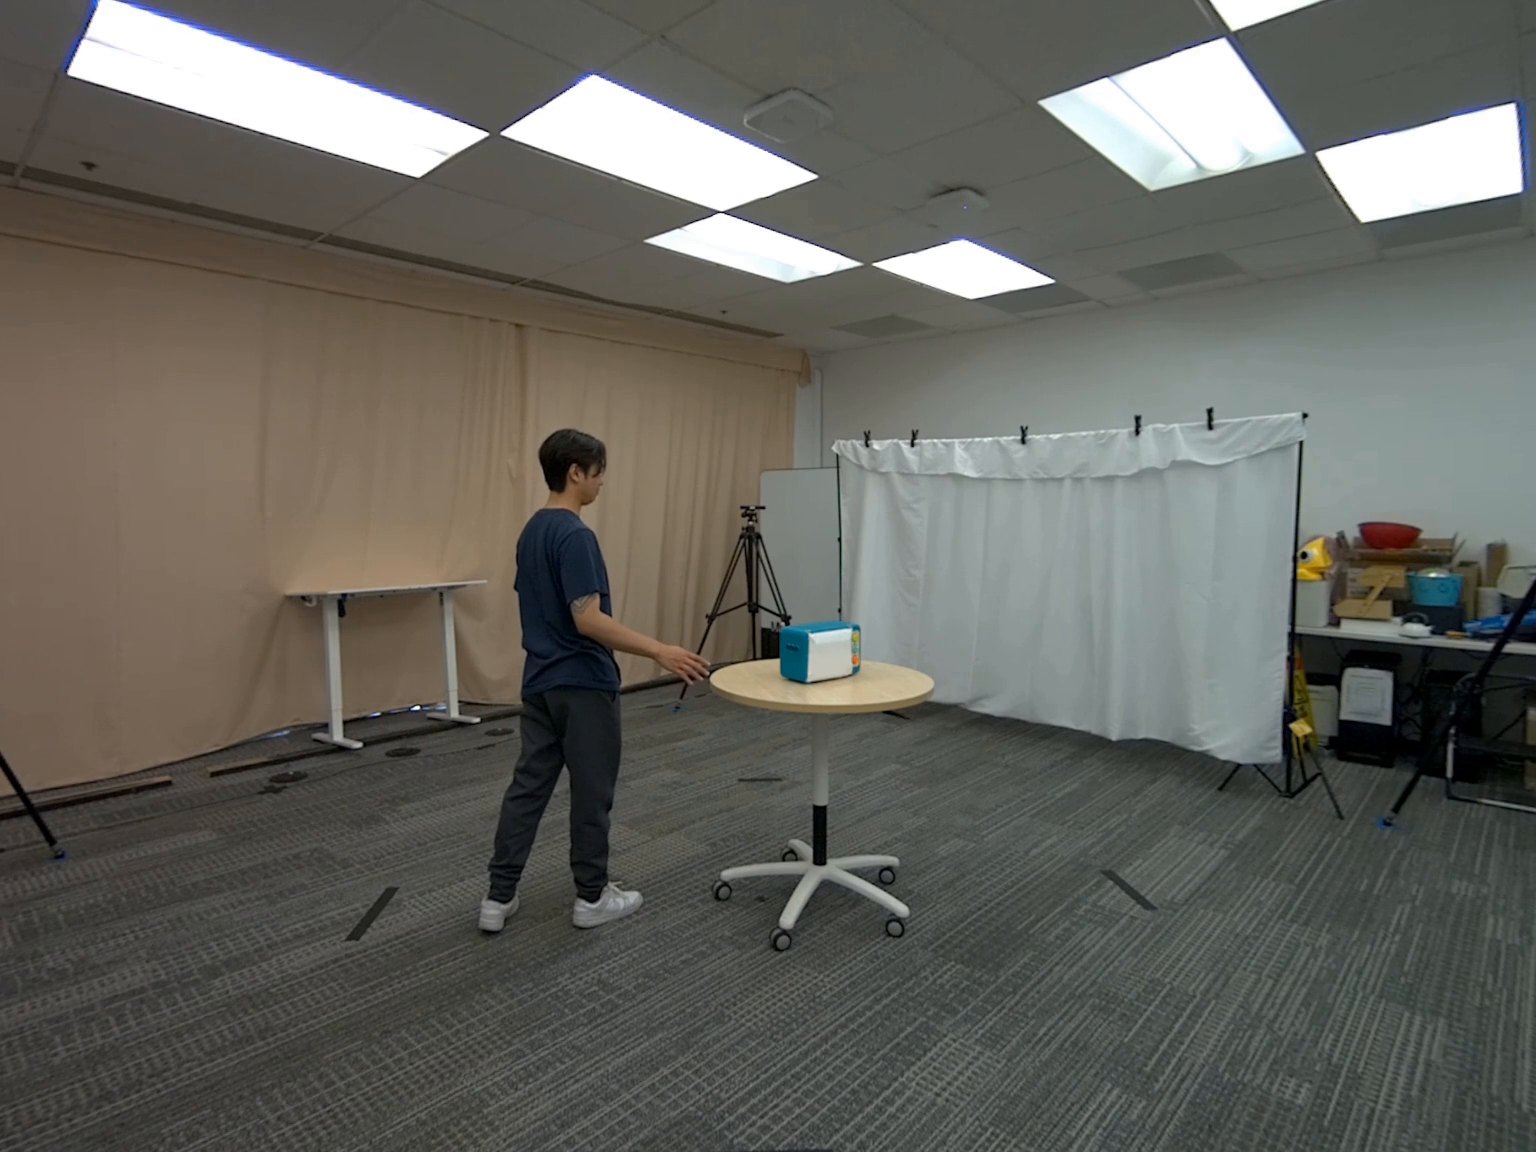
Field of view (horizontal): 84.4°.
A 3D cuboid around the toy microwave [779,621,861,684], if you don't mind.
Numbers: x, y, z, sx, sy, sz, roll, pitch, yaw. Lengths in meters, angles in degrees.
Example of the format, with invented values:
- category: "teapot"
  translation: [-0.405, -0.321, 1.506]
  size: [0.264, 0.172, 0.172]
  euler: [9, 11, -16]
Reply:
- category: "toy microwave"
  translation: [0.195, 0.262, 2.920]
  size: [0.278, 0.184, 0.157]
  euler: [-3, 5, -38]
